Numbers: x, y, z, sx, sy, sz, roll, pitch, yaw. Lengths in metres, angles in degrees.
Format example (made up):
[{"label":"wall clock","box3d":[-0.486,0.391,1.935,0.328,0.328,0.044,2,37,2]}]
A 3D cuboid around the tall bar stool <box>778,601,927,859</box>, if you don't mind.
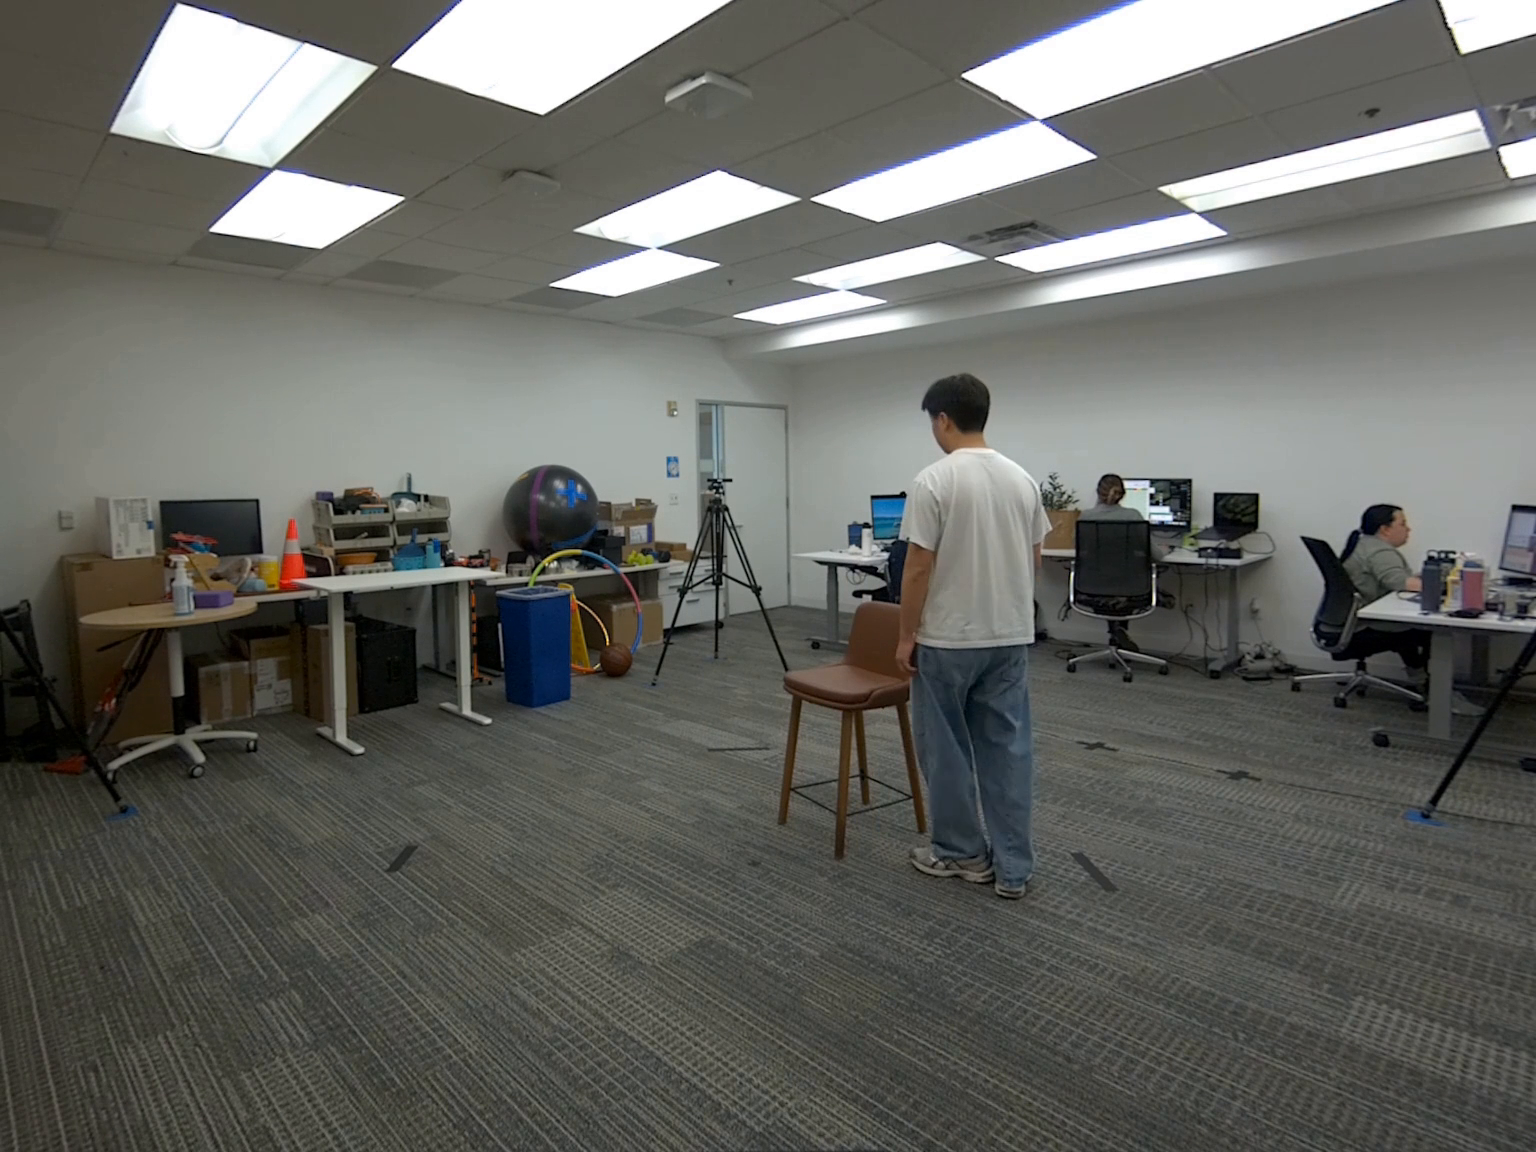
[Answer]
[{"label":"tall bar stool","box3d":[0.333,0.573,3.389,0.456,0.887,0.469,-2,4,-31]}]
